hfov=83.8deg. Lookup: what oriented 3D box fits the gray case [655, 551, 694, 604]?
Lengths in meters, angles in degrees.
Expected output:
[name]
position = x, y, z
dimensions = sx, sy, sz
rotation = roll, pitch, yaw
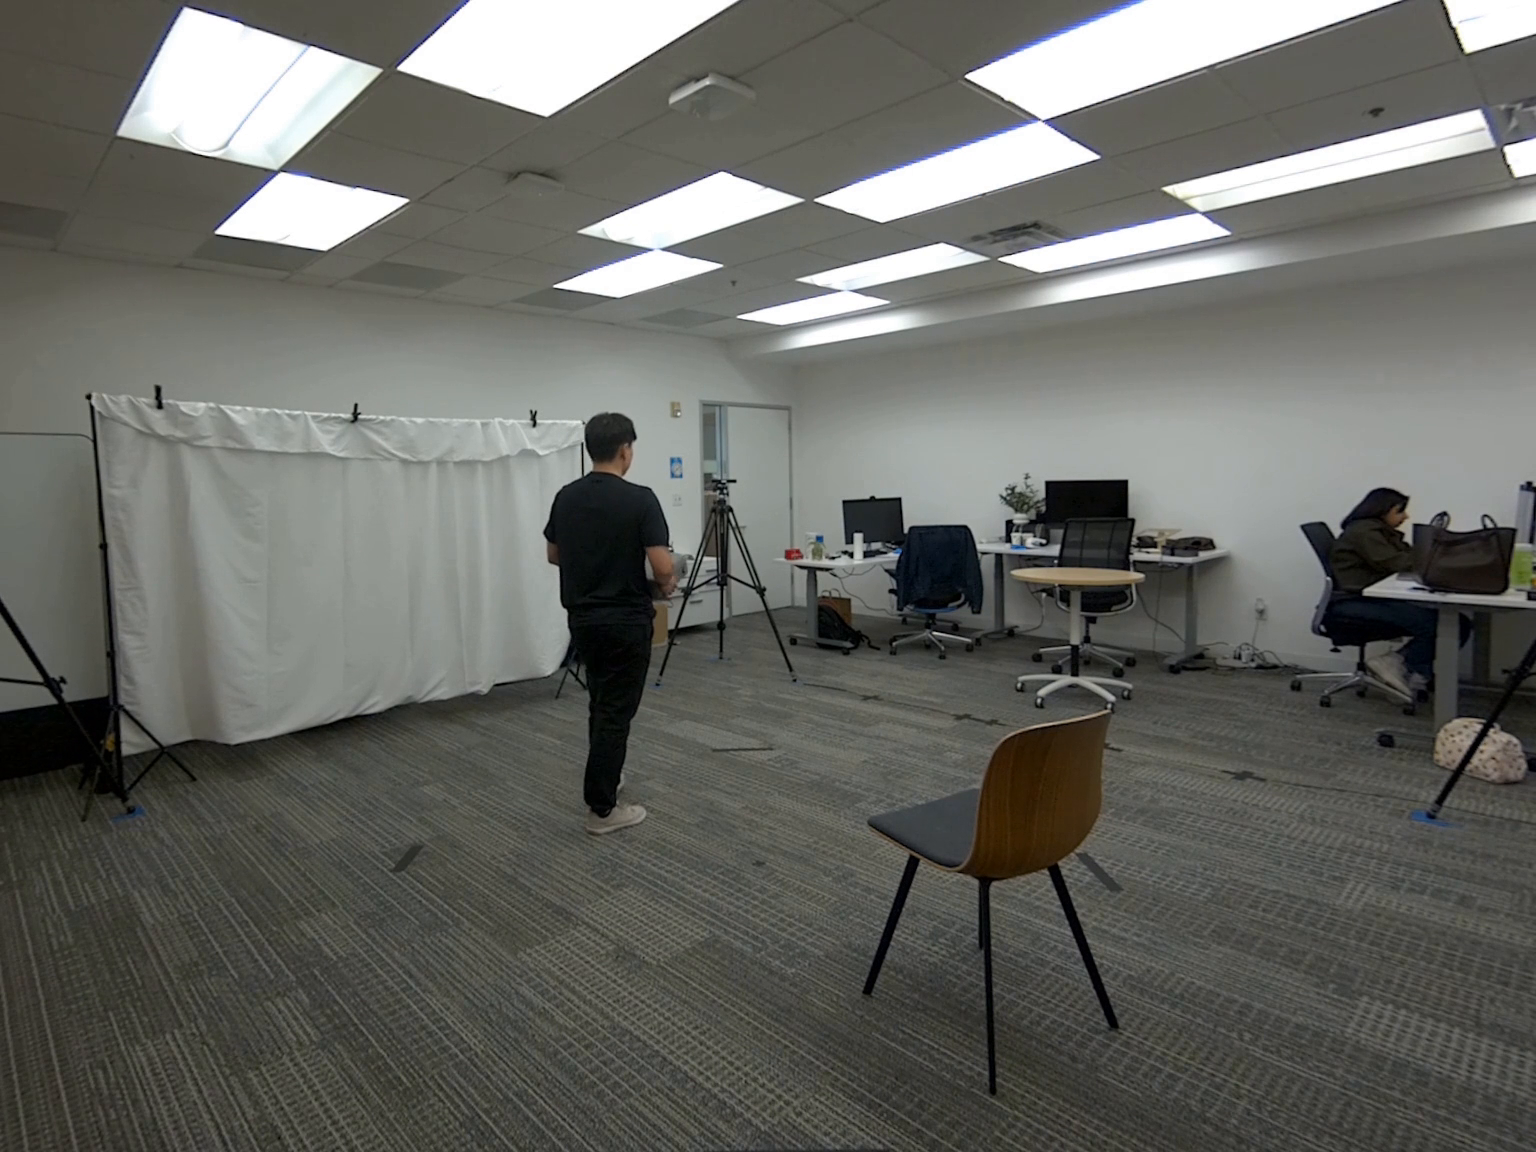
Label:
[gray case]
position = -0.499, -0.024, 3.718
dimensions = 0.264, 0.102, 0.259
rotation = 5, 30, 33
